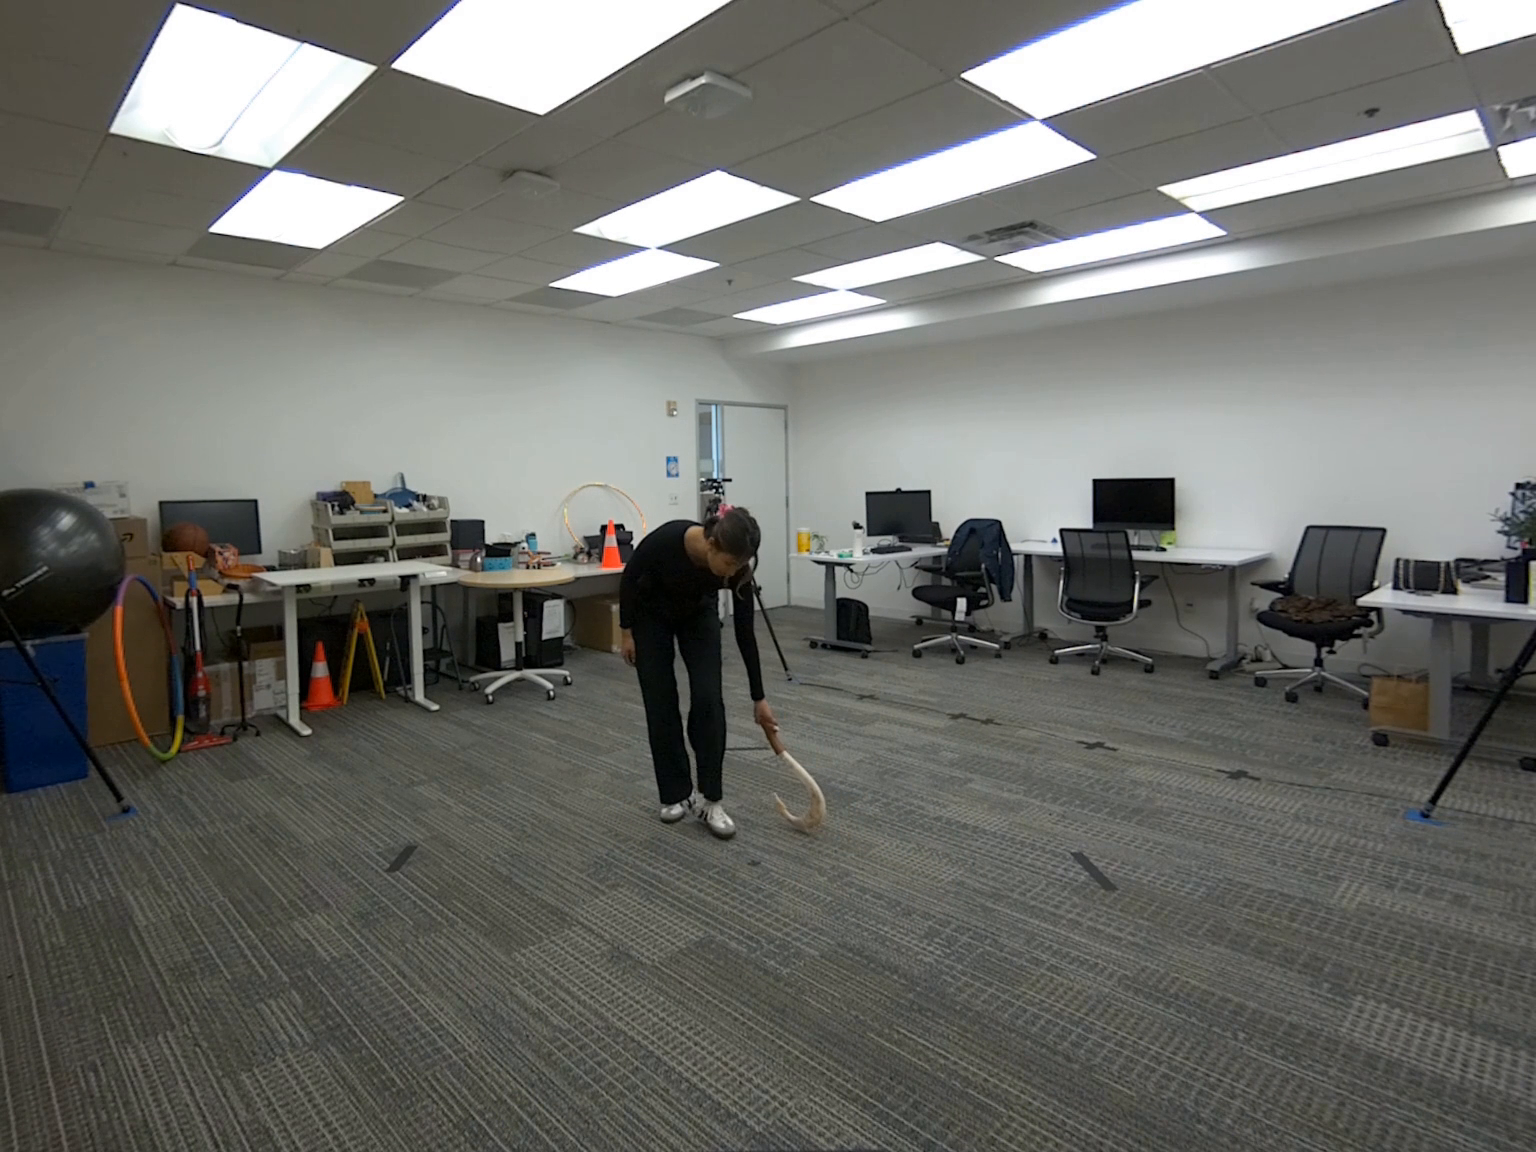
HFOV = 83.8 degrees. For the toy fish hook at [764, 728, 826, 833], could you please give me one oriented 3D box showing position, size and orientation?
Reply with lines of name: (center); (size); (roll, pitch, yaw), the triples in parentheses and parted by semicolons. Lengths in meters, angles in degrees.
toy fish hook: (0.052, 0.778, 3.431); (0.225, 0.520, 0.047); (-42, -23, 24)
